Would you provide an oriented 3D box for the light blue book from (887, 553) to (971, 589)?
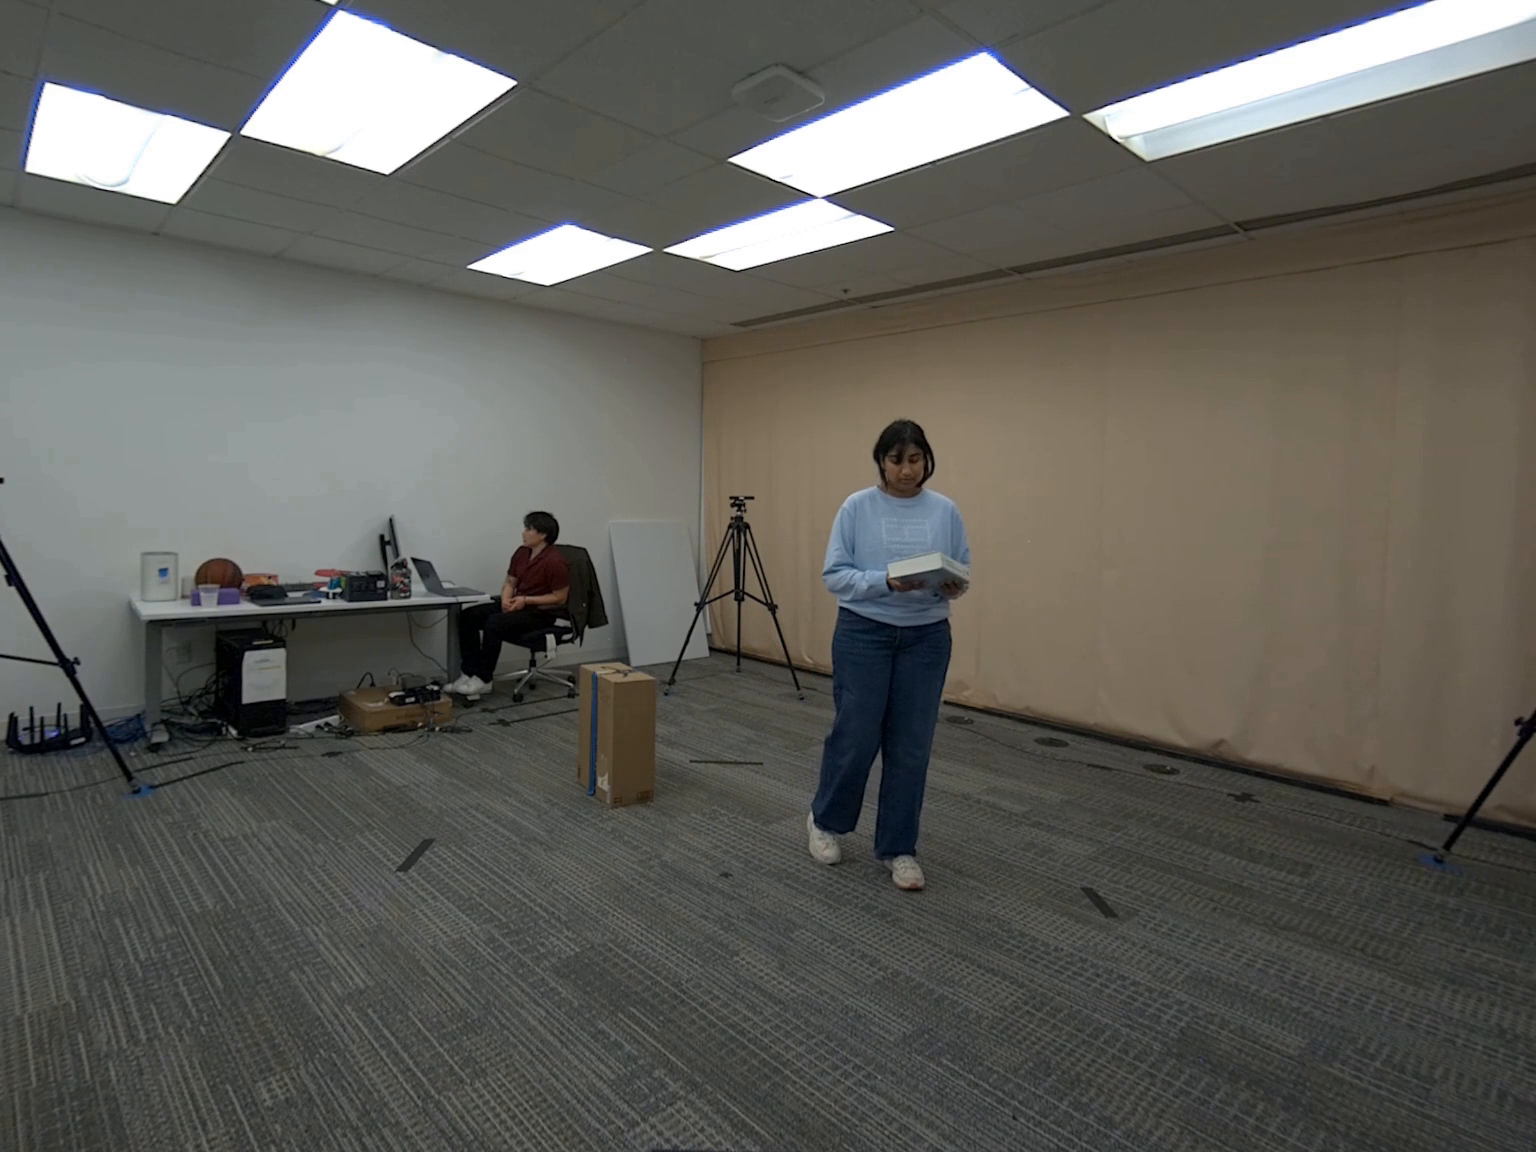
[{"bbox_3d":[0.523,-0.013,2.804,0.194,0.060,0.254,-11,-17,30],"label":"light blue book"}]
